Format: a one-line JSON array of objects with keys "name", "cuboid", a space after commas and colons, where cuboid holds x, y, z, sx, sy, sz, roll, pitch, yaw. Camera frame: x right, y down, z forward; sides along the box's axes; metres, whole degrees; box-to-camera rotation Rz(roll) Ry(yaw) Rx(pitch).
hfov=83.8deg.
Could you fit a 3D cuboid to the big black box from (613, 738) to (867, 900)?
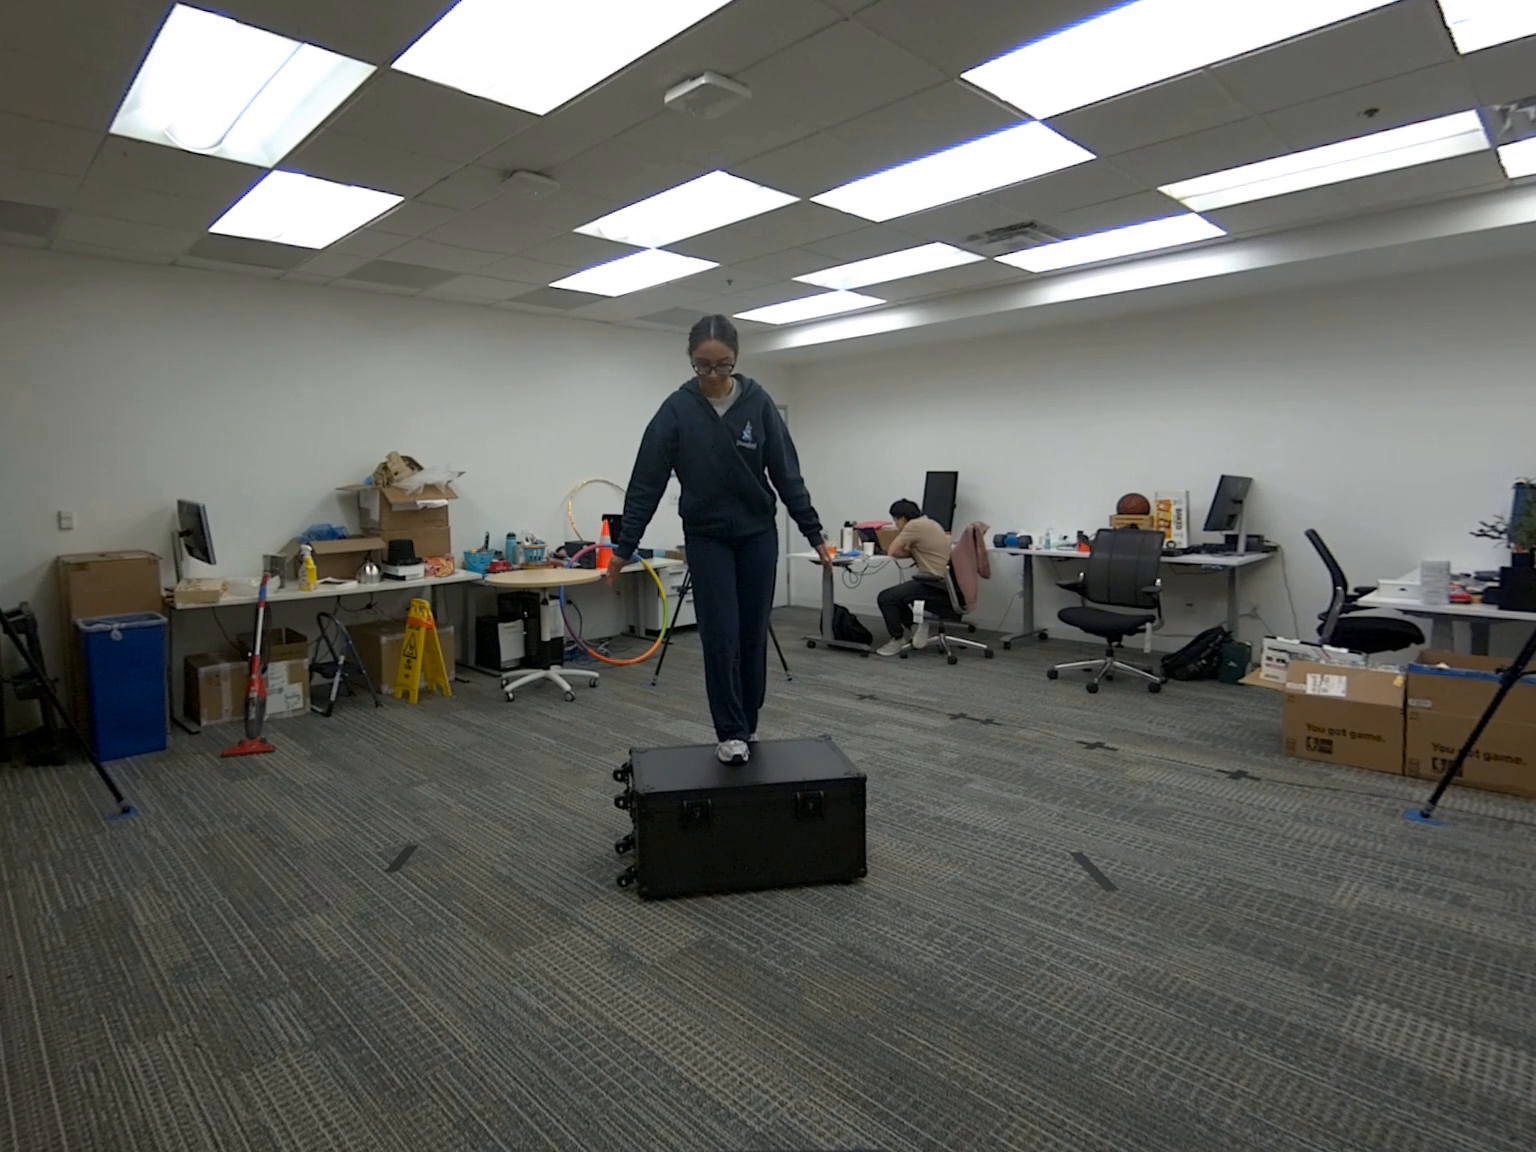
[{"name": "big black box", "cuboid": [-0.126, 0.856, 3.094, 0.854, 0.395, 0.528, -2, 5, -9]}]
